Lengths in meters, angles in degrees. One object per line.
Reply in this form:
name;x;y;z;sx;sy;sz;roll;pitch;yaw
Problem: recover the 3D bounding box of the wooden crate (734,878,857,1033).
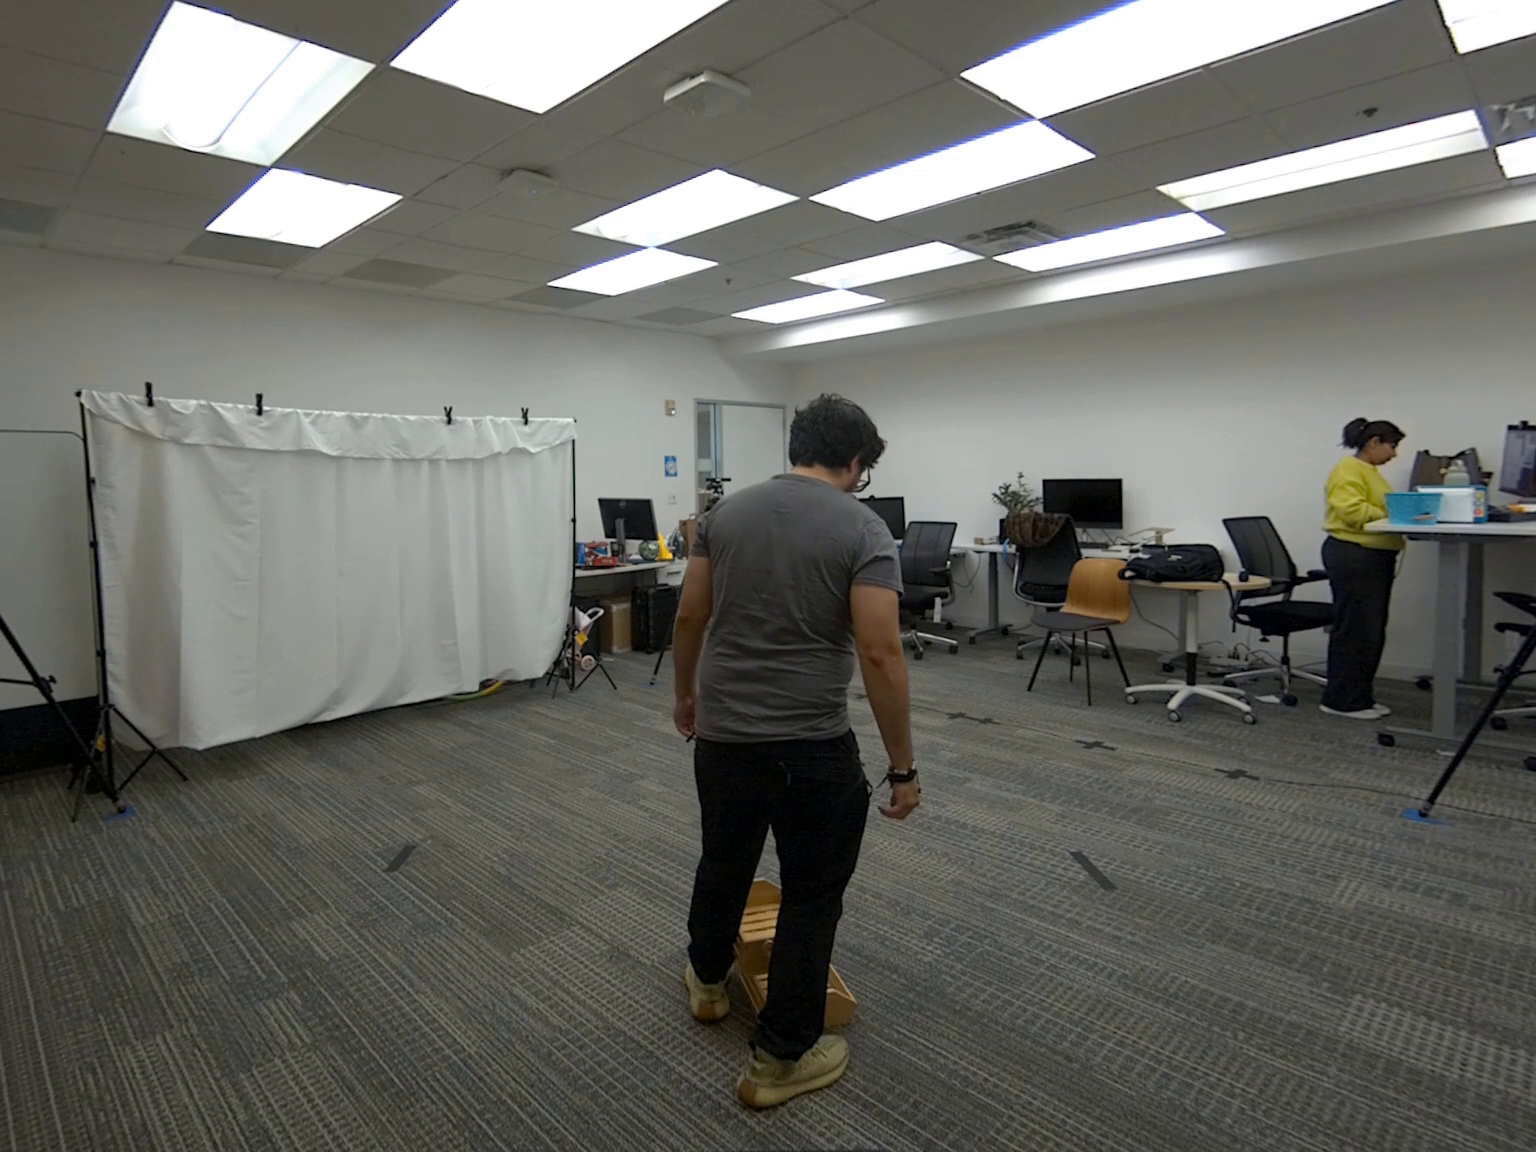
wooden crate;0.051;1.003;2.291;0.298;0.272;0.331;-3;6;-17
